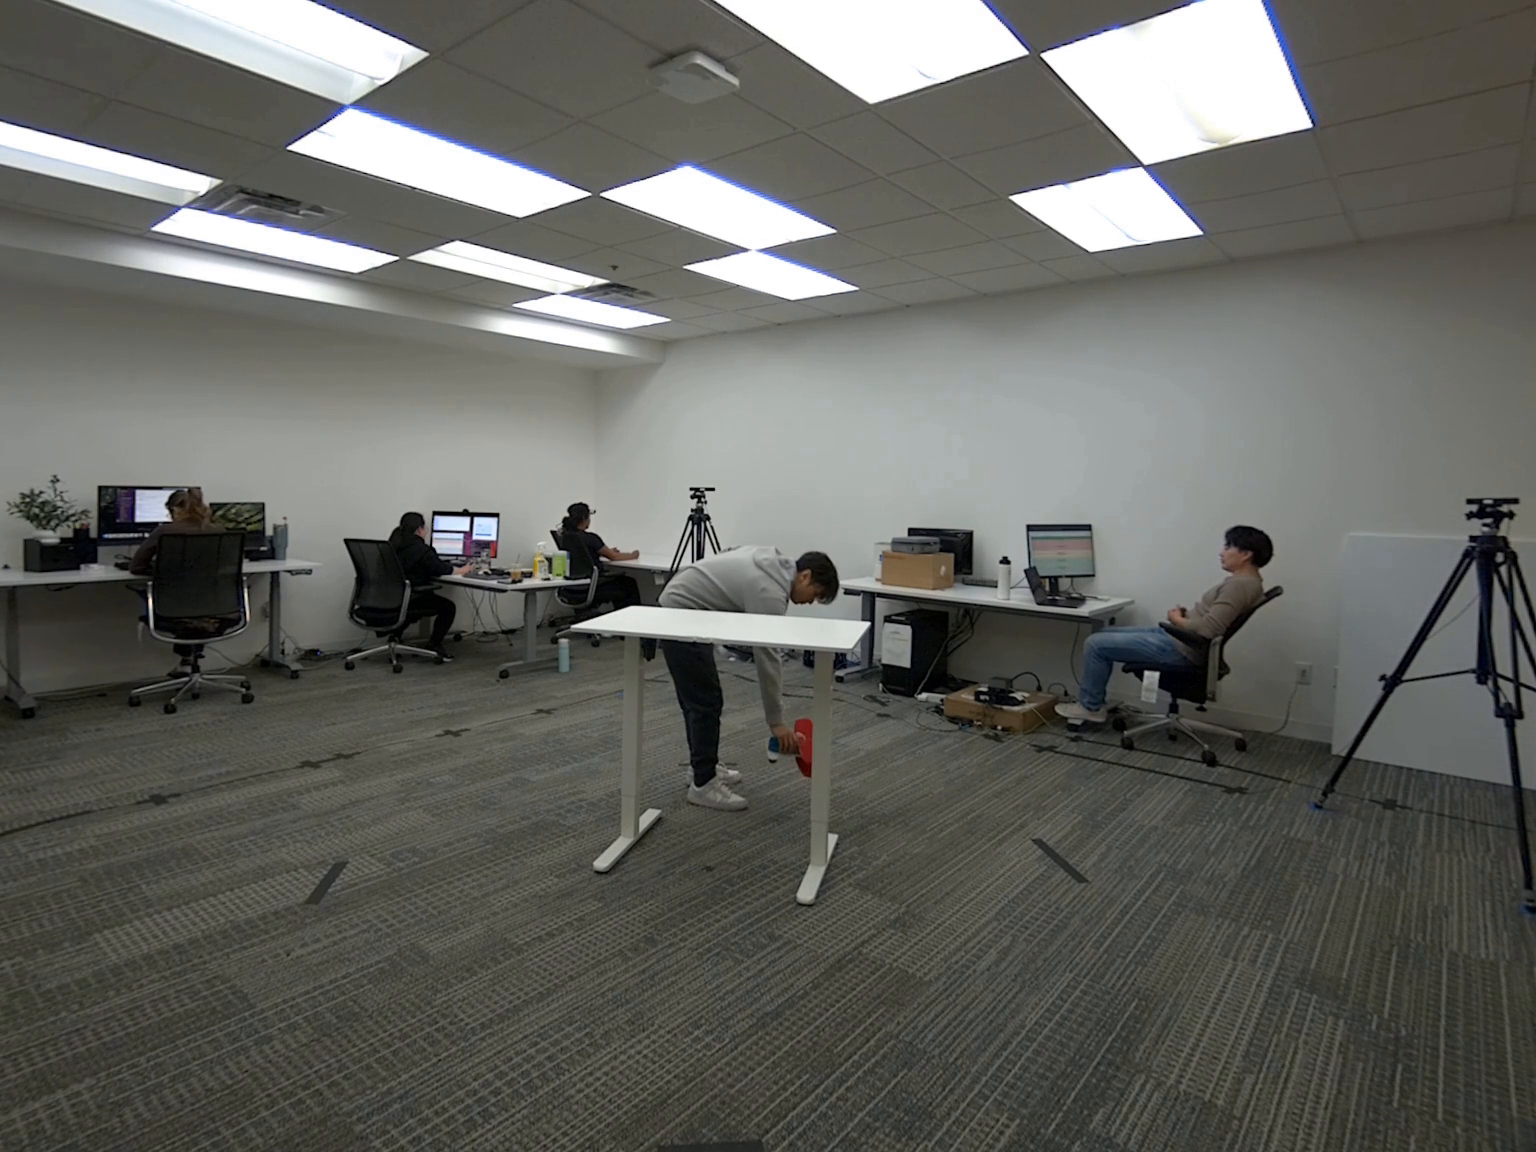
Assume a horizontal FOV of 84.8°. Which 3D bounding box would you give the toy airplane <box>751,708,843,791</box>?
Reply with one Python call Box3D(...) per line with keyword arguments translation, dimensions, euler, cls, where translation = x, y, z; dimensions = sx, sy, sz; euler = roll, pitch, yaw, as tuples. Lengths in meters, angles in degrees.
Box3D(translation=(0.120, 0.736, 3.598), dimensions=(0.252, 0.154, 0.262), euler=(-7, 41, -37), cls="toy airplane")
